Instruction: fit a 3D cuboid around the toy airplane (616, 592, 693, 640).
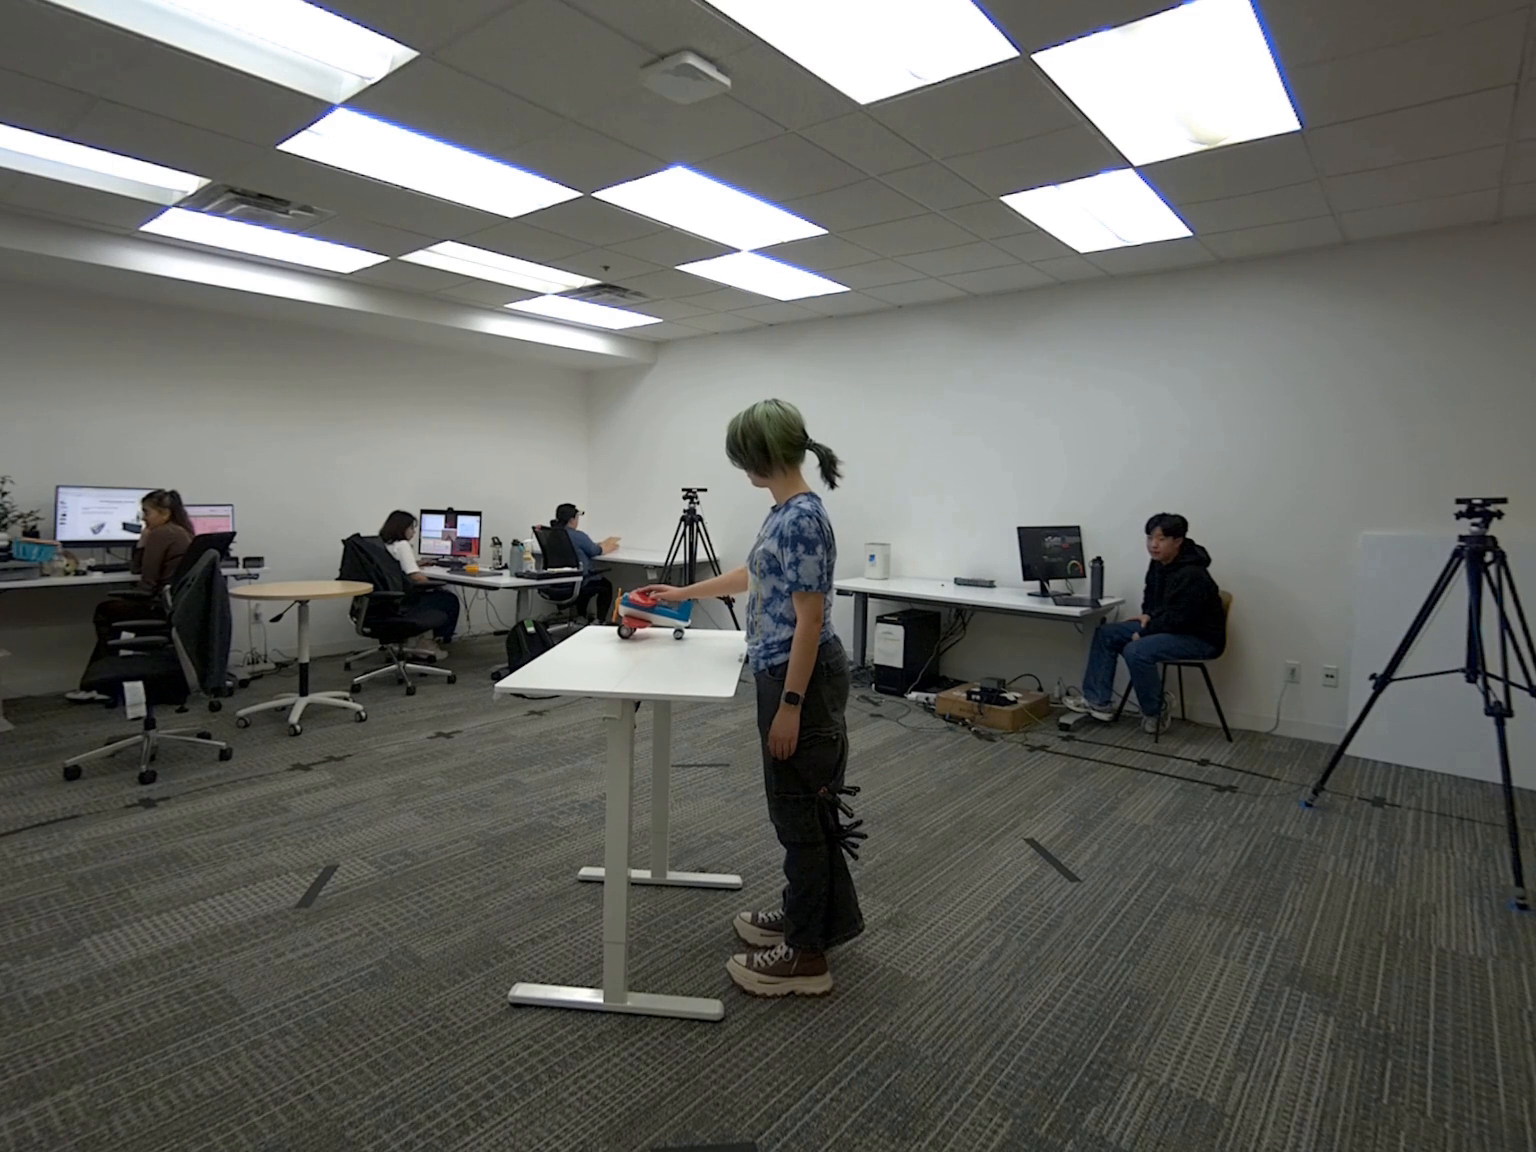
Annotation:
[{"bbox_3d":[-0.400,0.129,2.907,0.253,0.156,0.258,-2,5,-28],"label":"toy airplane"}]
